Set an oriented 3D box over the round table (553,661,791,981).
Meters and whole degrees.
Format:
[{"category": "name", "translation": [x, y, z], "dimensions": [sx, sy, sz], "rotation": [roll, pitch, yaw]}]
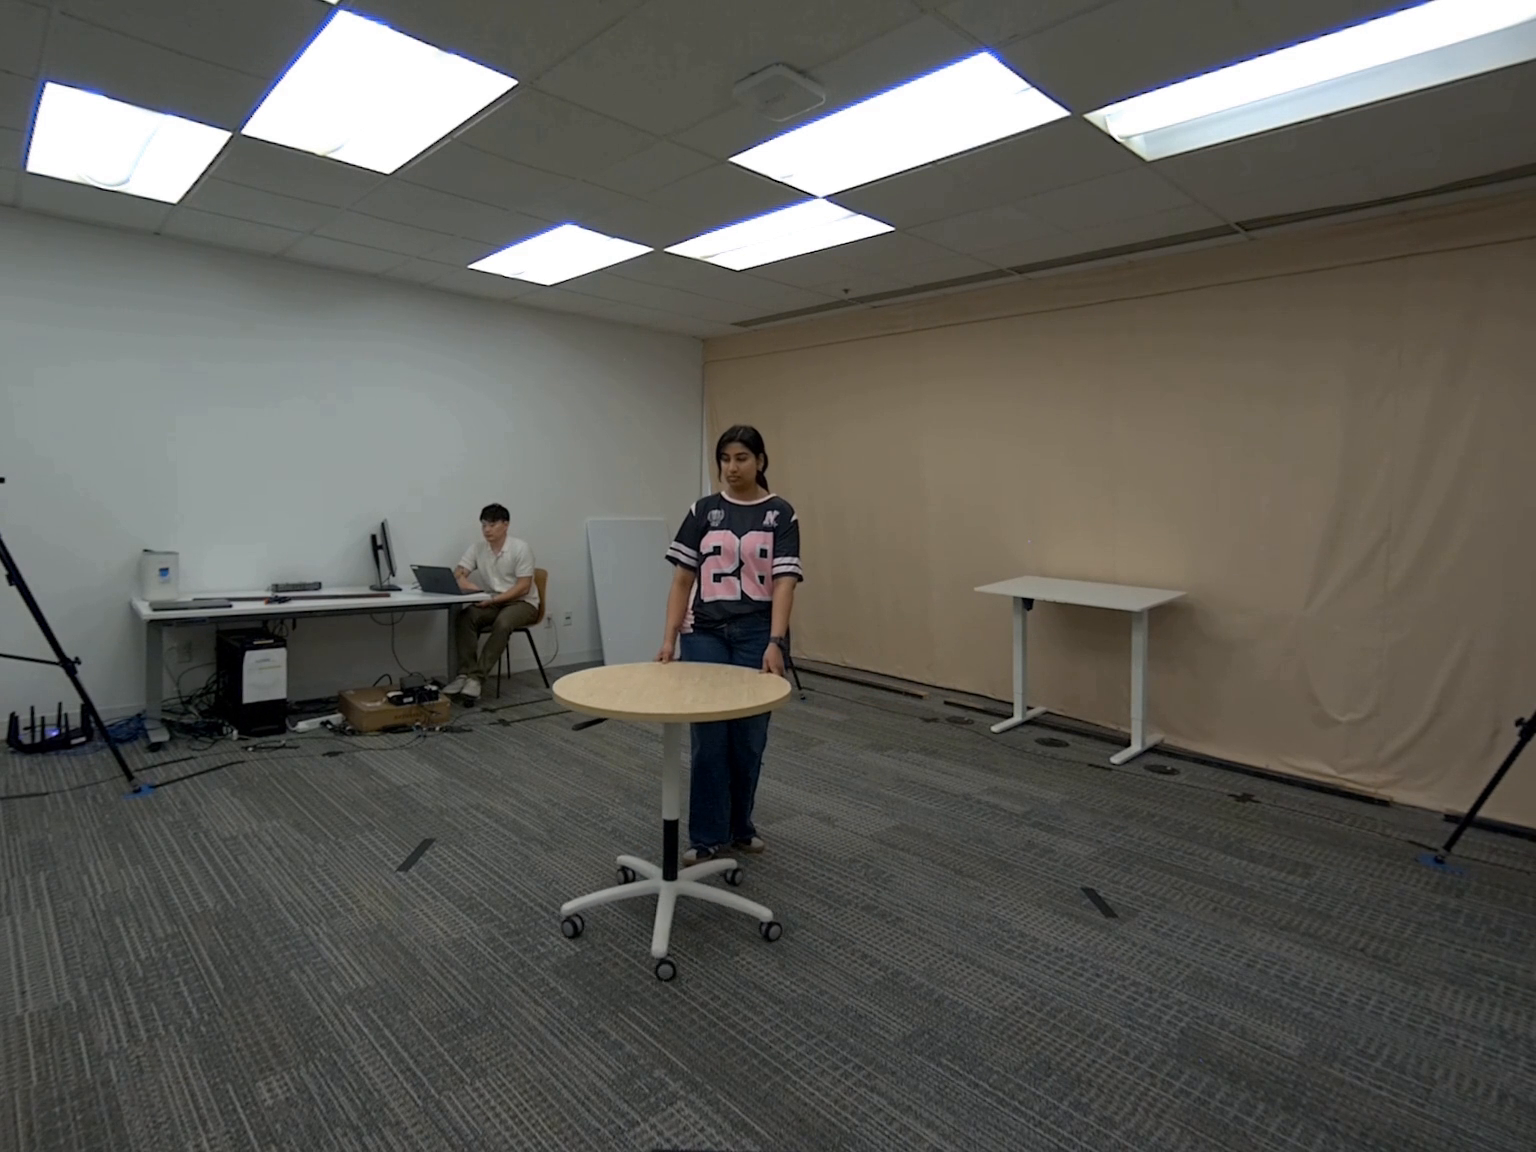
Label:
[{"category": "round table", "translation": [-0.308, 0.741, 2.745], "dimensions": [0.784, 0.784, 0.787], "rotation": [1, 4, -1]}]
